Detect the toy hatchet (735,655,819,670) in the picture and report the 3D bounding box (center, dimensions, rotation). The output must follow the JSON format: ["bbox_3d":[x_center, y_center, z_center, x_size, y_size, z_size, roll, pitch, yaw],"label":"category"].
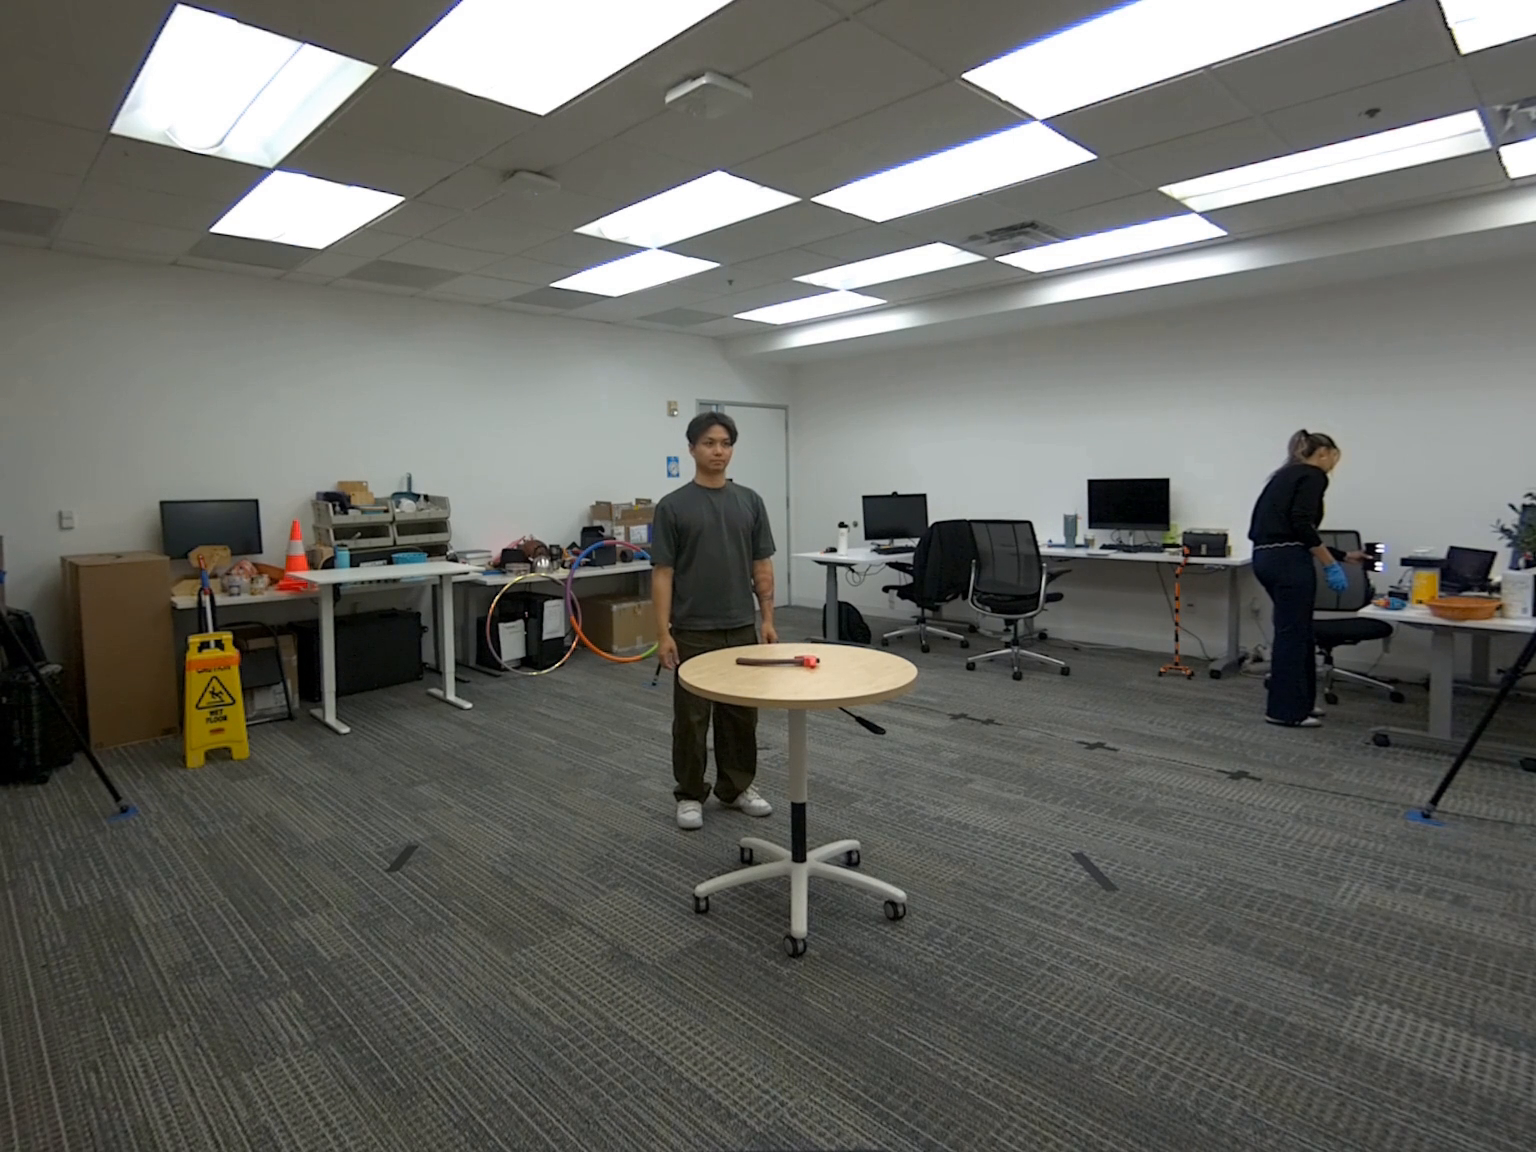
[{"bbox_3d":[0.038,0.280,2.826,0.275,0.029,0.129,0,7,20],"label":"toy hatchet"}]
